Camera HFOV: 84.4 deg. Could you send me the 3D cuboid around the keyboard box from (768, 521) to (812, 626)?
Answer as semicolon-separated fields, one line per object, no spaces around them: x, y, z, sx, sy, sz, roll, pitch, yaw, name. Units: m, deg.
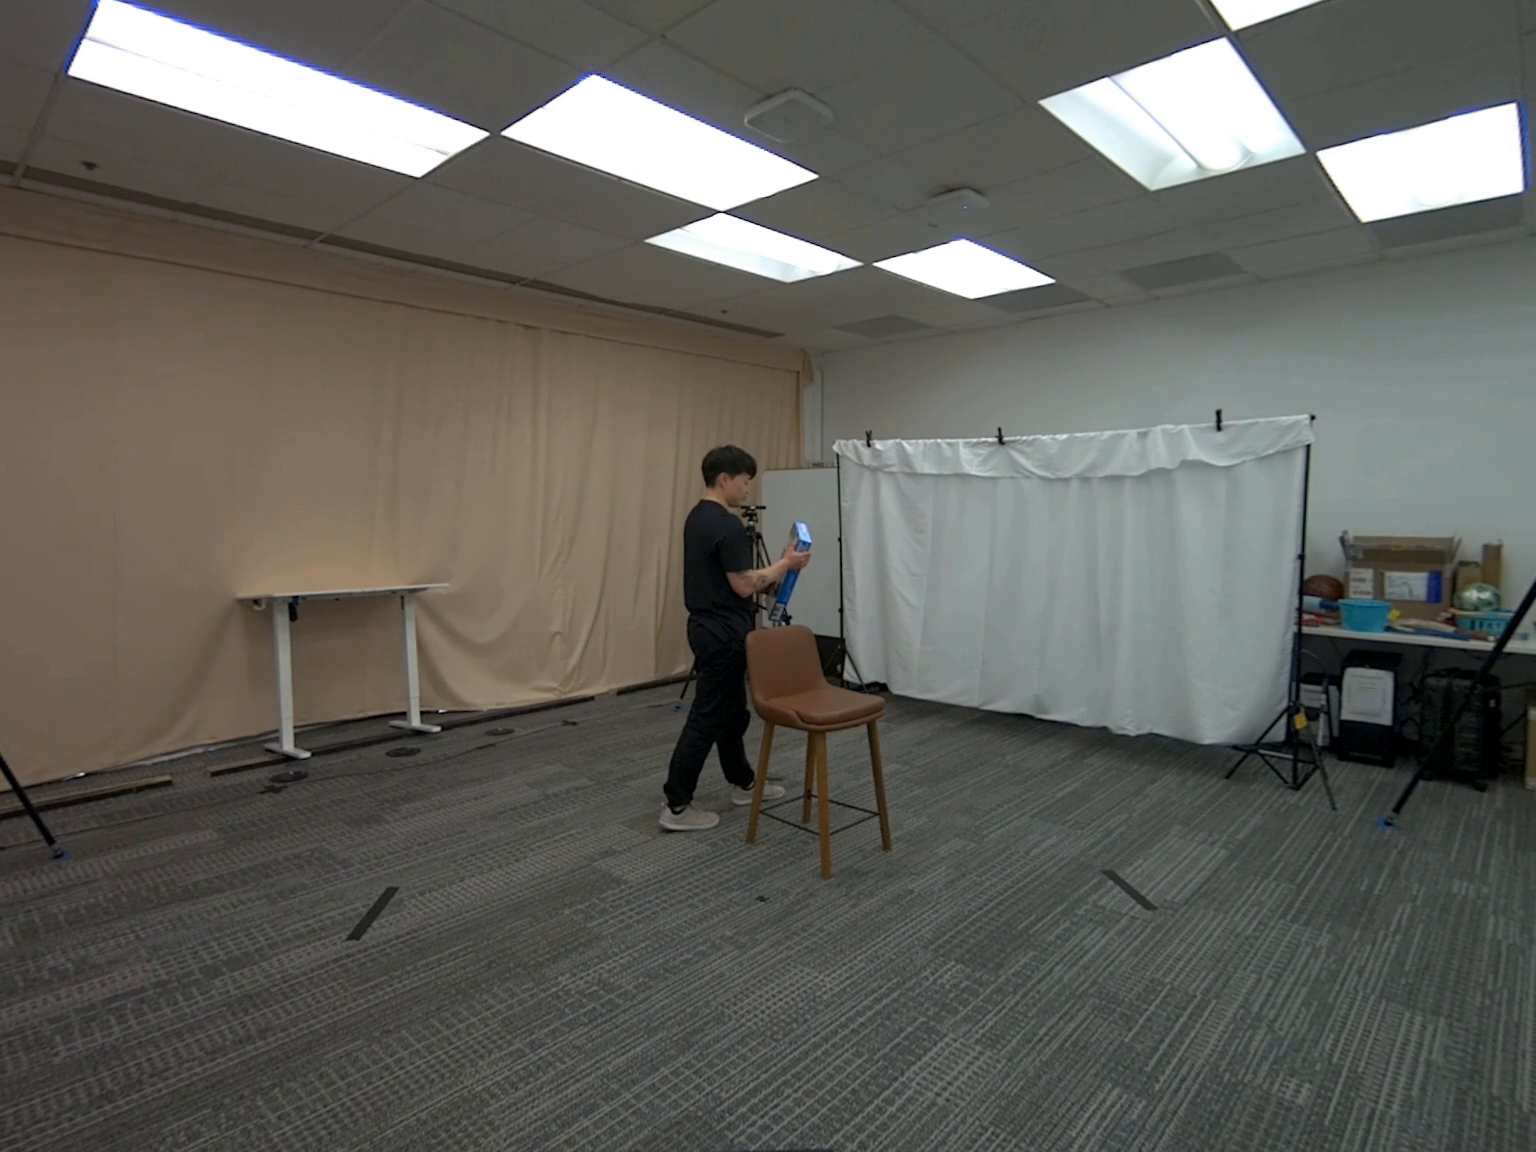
0.087;-0.018;3.813;0.058;0.434;0.179;13;29;-14;keyboard box
